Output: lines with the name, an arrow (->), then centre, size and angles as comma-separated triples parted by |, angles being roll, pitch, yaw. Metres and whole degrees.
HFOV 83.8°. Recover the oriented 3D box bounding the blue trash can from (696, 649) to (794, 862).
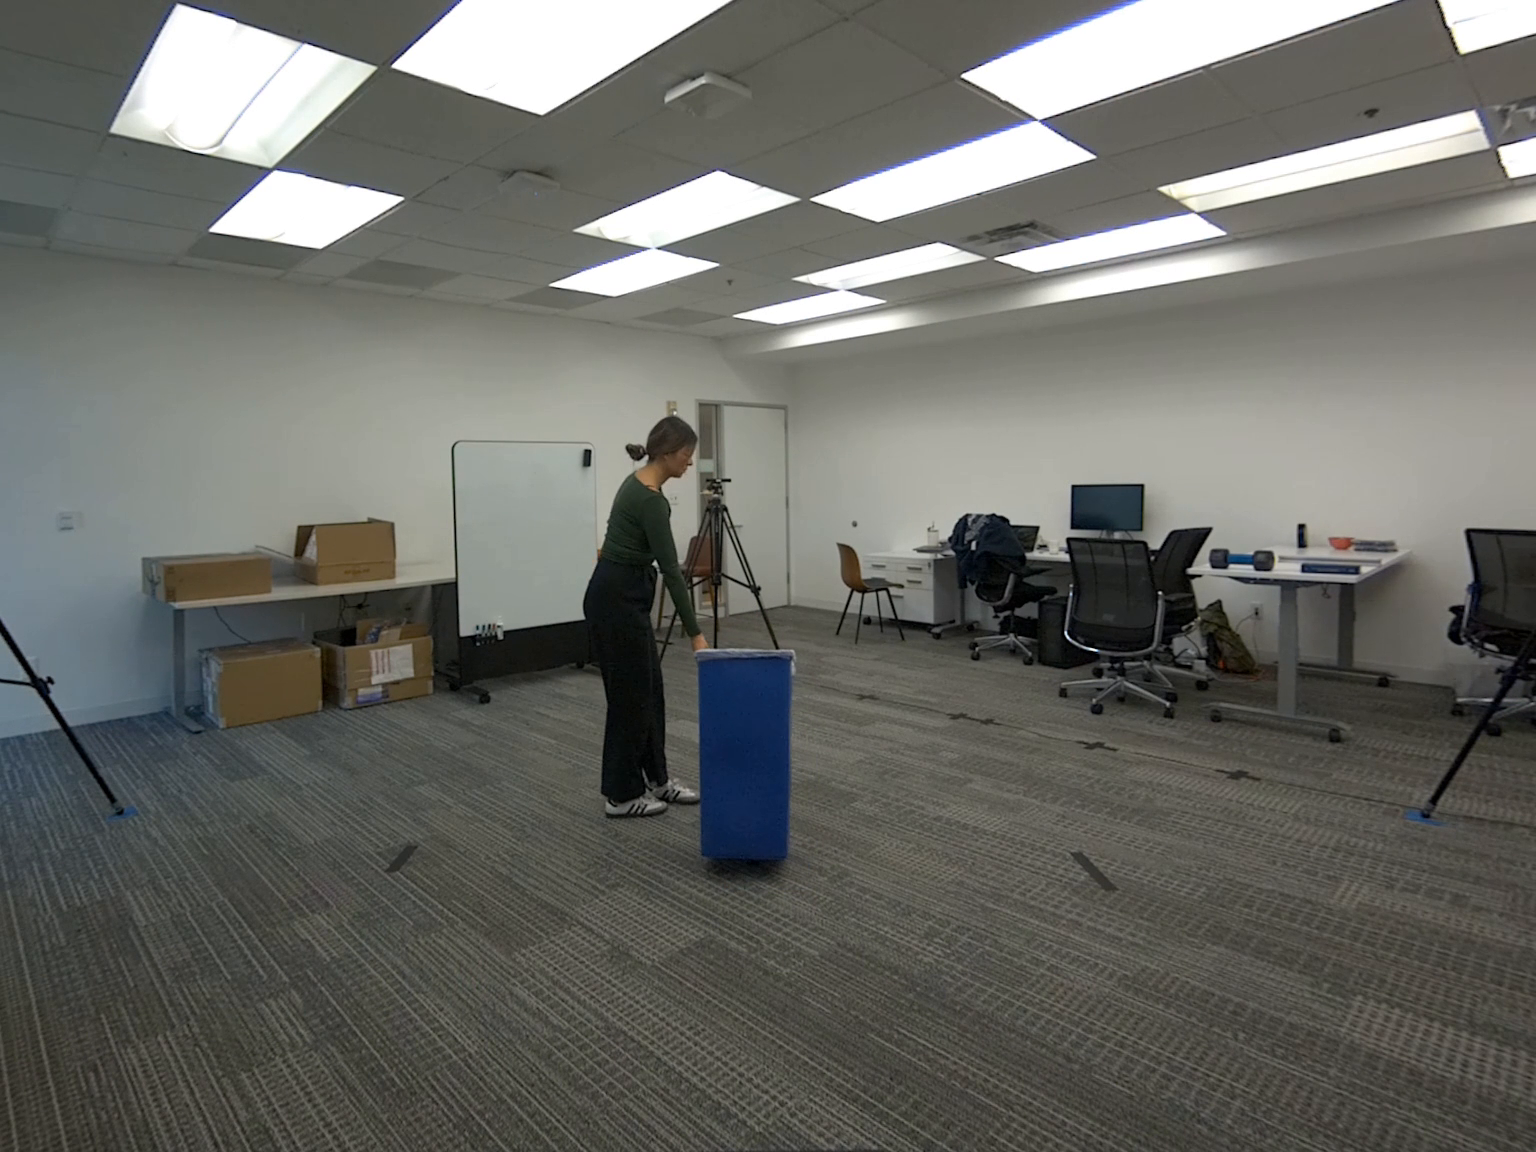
blue trash can -> -0.074, 0.655, 3.180 | 0.379, 0.722, 0.368 | -1, -13, 3
